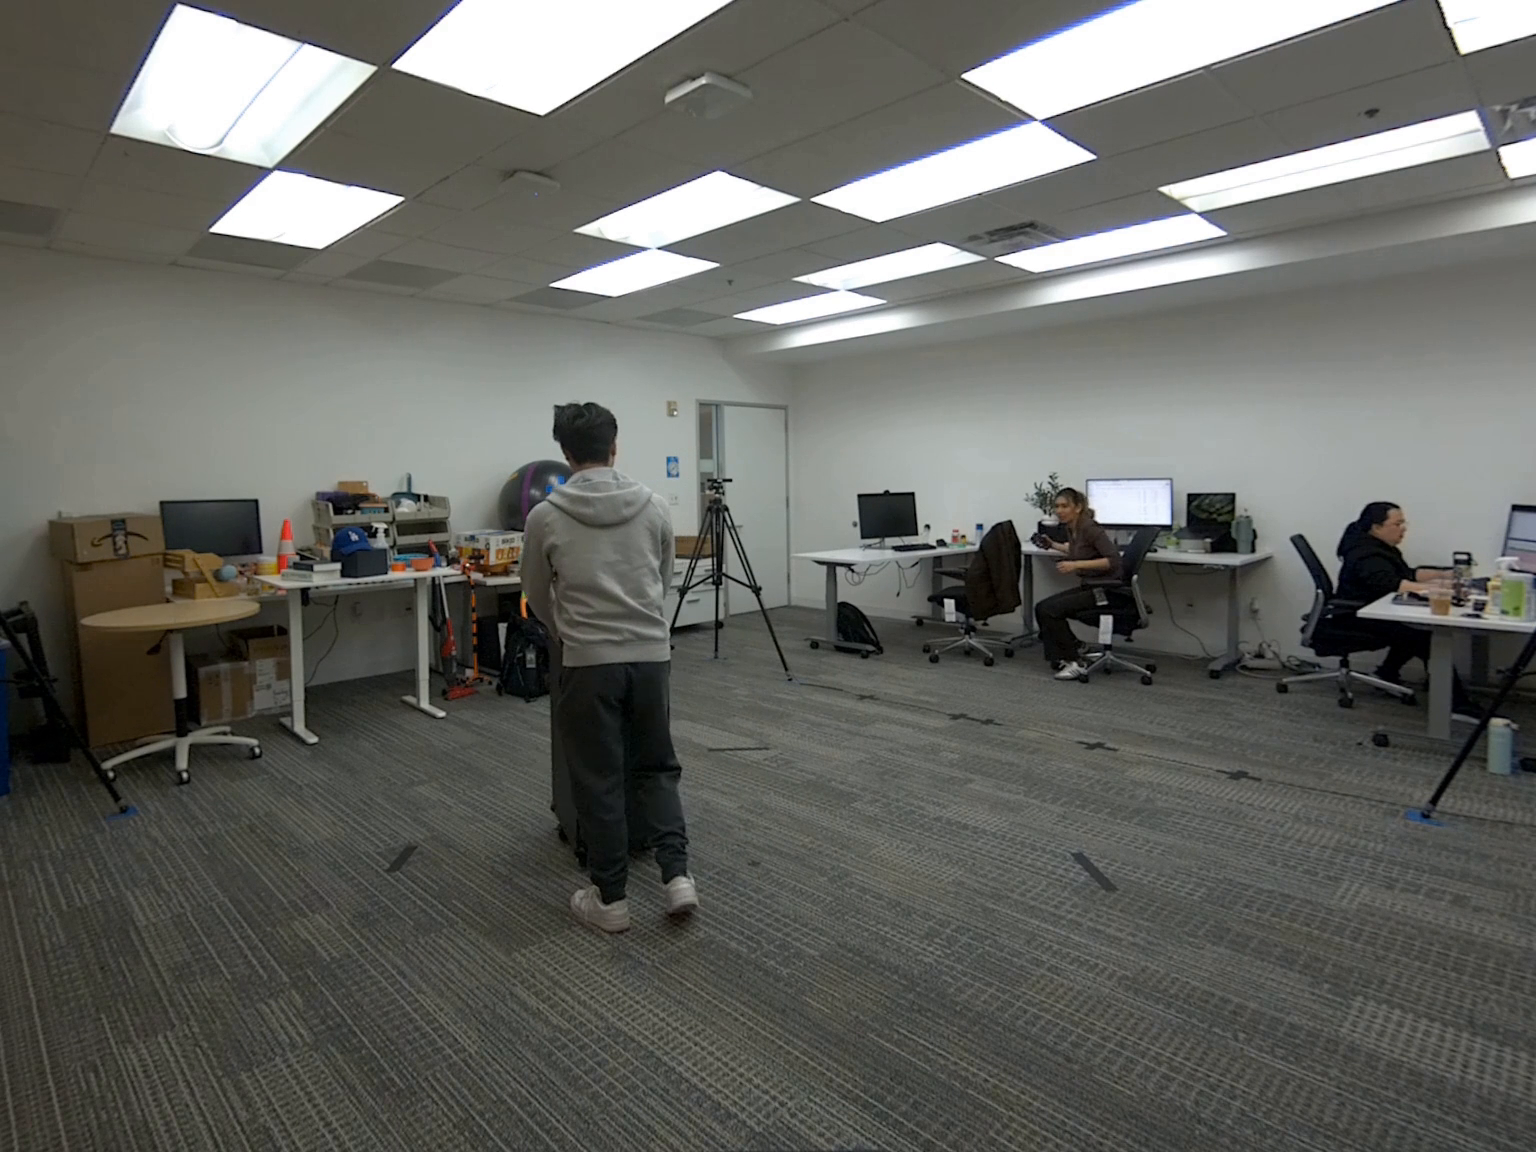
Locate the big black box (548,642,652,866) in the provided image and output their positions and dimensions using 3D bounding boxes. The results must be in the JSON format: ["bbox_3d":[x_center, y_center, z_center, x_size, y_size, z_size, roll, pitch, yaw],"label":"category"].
[{"bbox_3d":[-0.611,0.612,3.302,0.388,0.859,0.533,0,3,-24],"label":"big black box"}]
